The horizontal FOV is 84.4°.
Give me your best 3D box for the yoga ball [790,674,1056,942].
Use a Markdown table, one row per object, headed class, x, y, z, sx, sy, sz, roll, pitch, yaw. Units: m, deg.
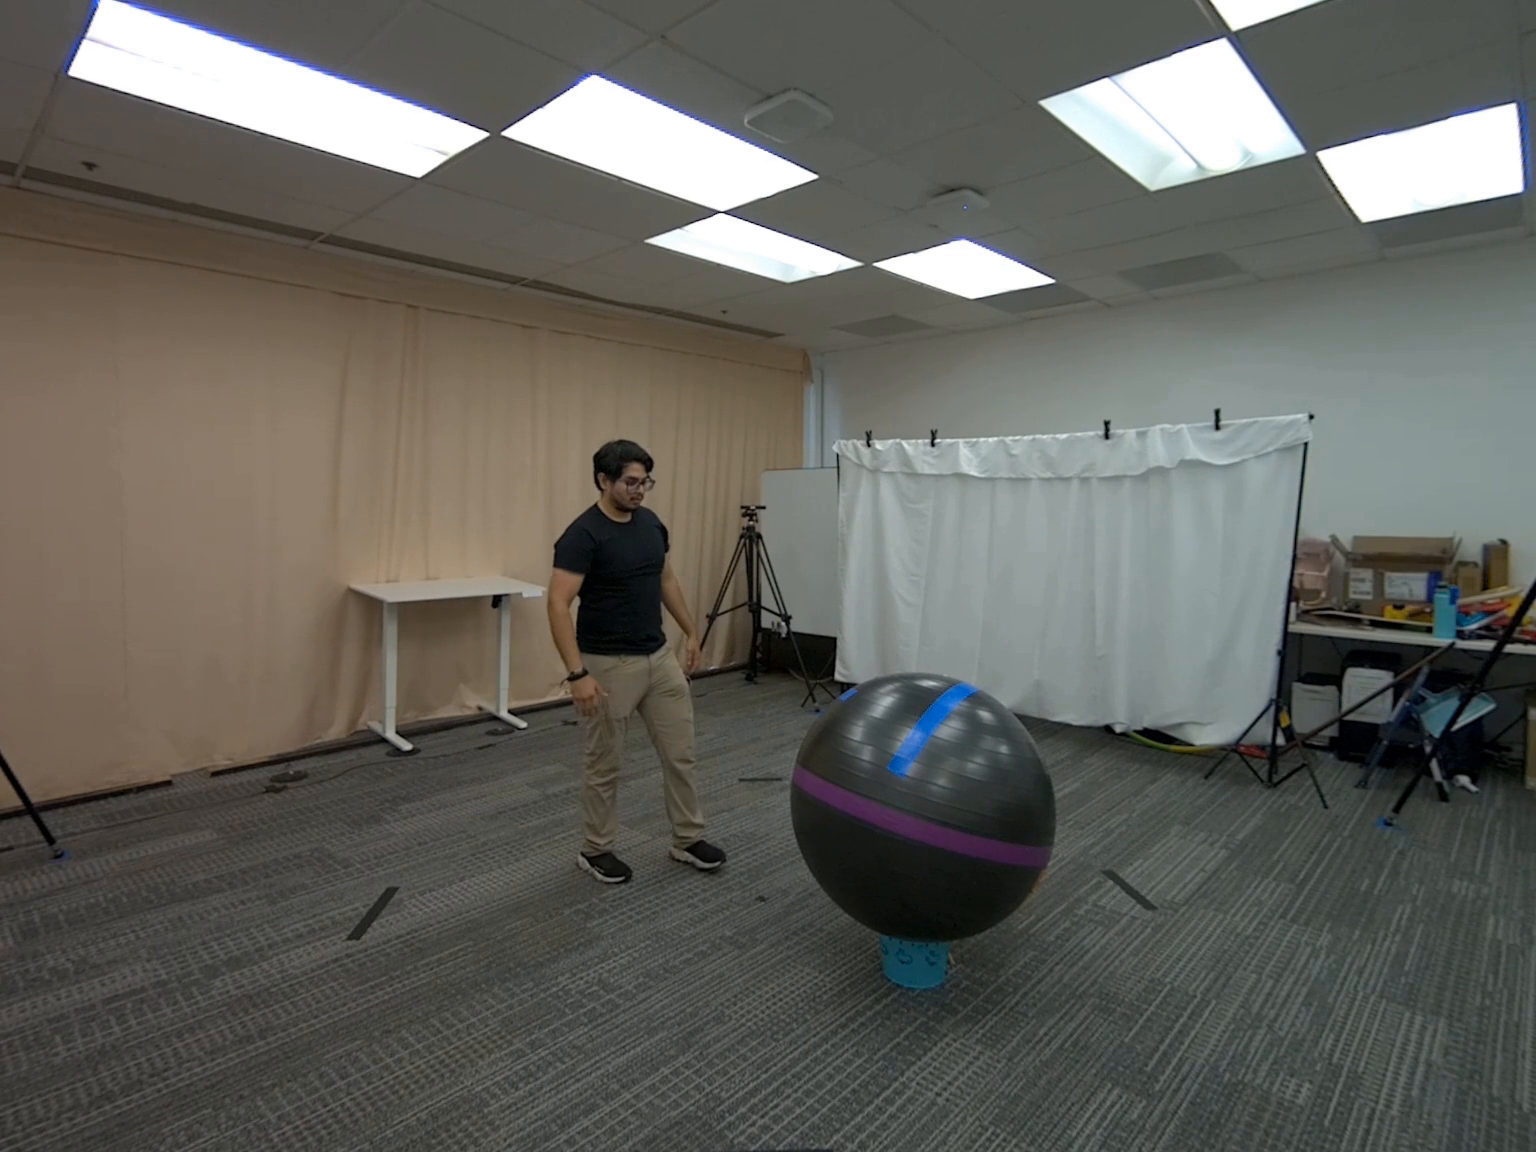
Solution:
| class | x | y | z | sx | sy | sz | roll | pitch | yaw |
| --- | --- | --- | --- | --- | --- | --- | --- | --- | --- |
| yoga ball | 0.459 | 0.675 | 2.496 | 0.757 | 0.756 | 0.761 | 0 | 4 | -2 |
